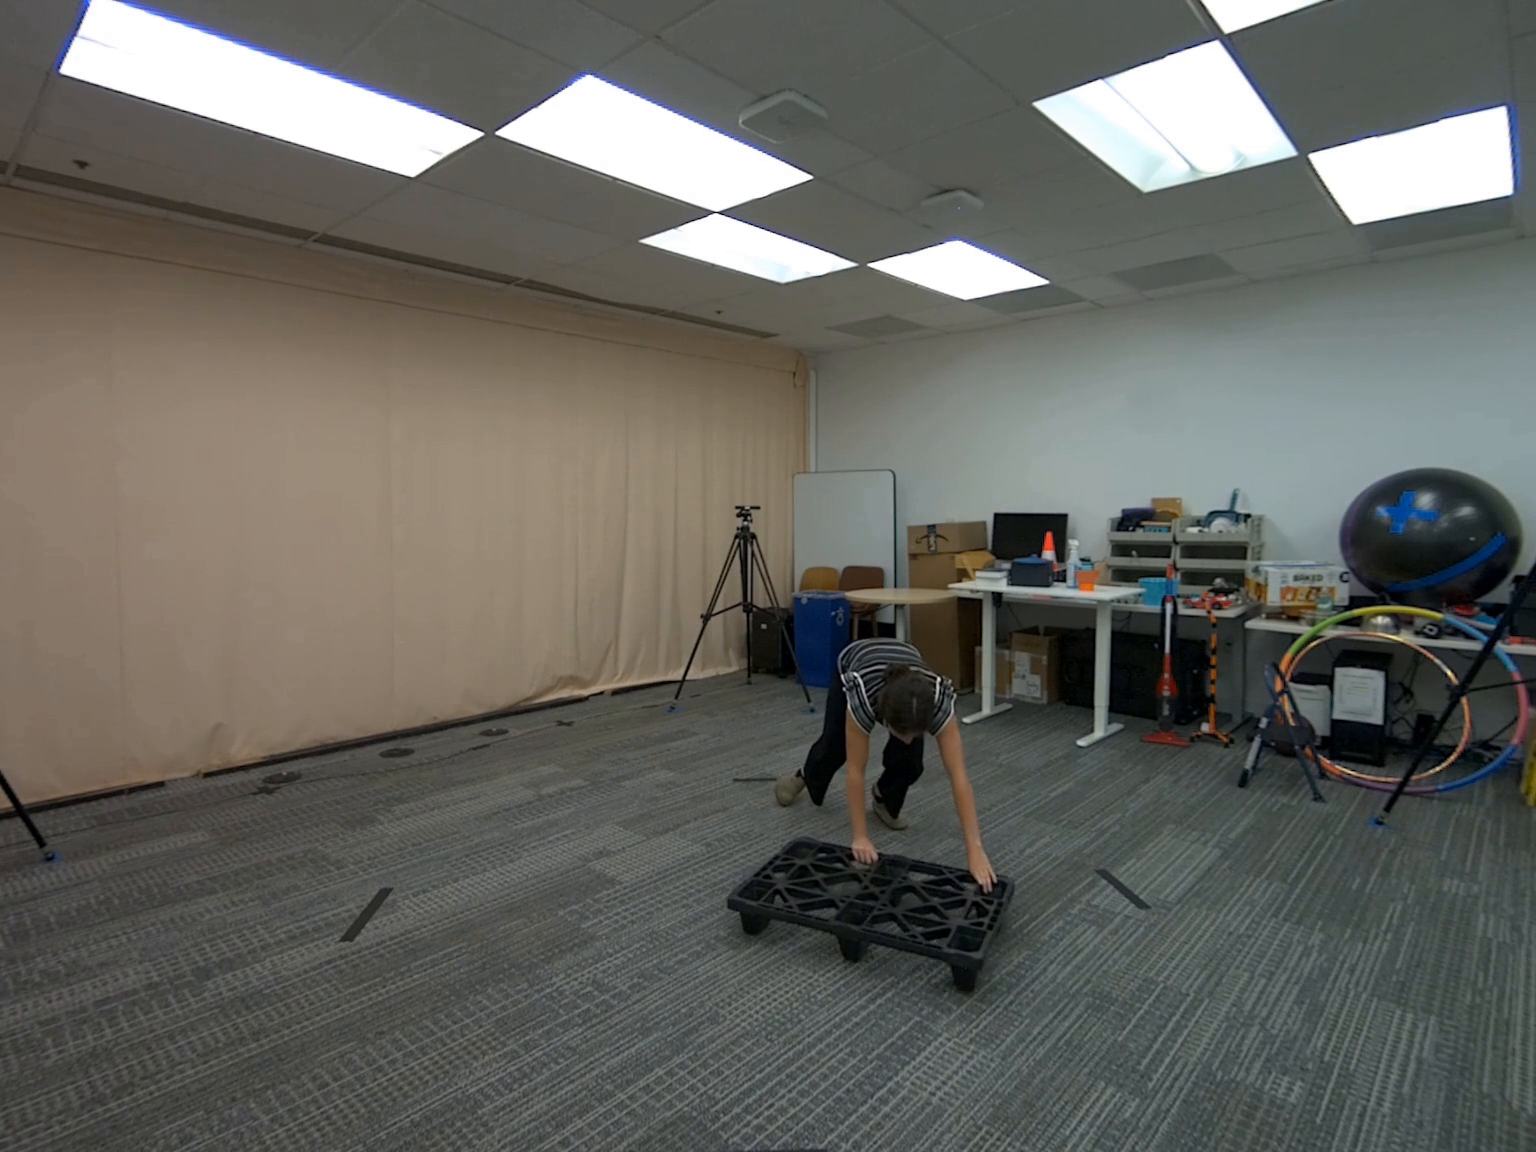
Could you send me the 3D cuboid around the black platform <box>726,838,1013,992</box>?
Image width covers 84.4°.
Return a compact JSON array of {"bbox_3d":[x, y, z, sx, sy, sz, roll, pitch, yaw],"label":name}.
[{"bbox_3d":[0.350,1.090,2.766,0.827,0.143,0.590,2,5,27],"label":"black platform"}]
